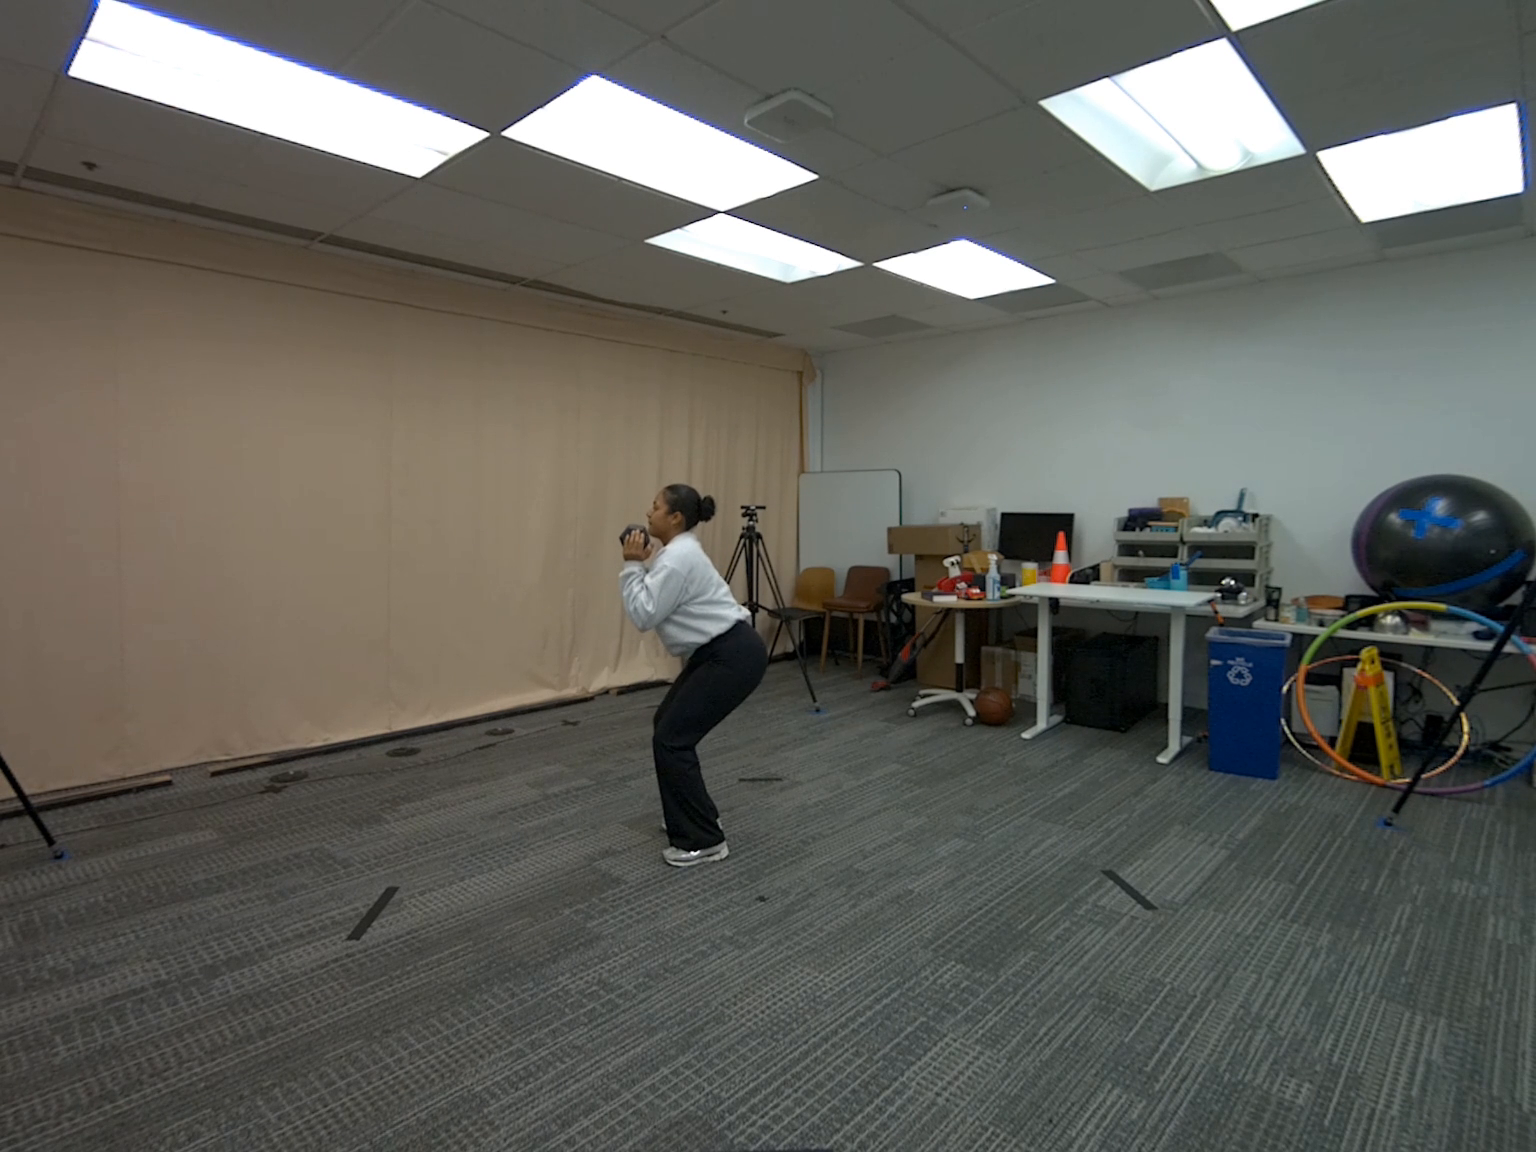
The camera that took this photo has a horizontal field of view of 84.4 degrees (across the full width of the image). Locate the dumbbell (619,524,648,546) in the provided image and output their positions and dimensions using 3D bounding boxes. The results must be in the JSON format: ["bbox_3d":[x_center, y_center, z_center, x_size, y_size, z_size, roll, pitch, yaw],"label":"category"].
[{"bbox_3d":[-0.532,-0.145,3.434,0.108,0.123,0.296,39,0,-9],"label":"dumbbell"}]
